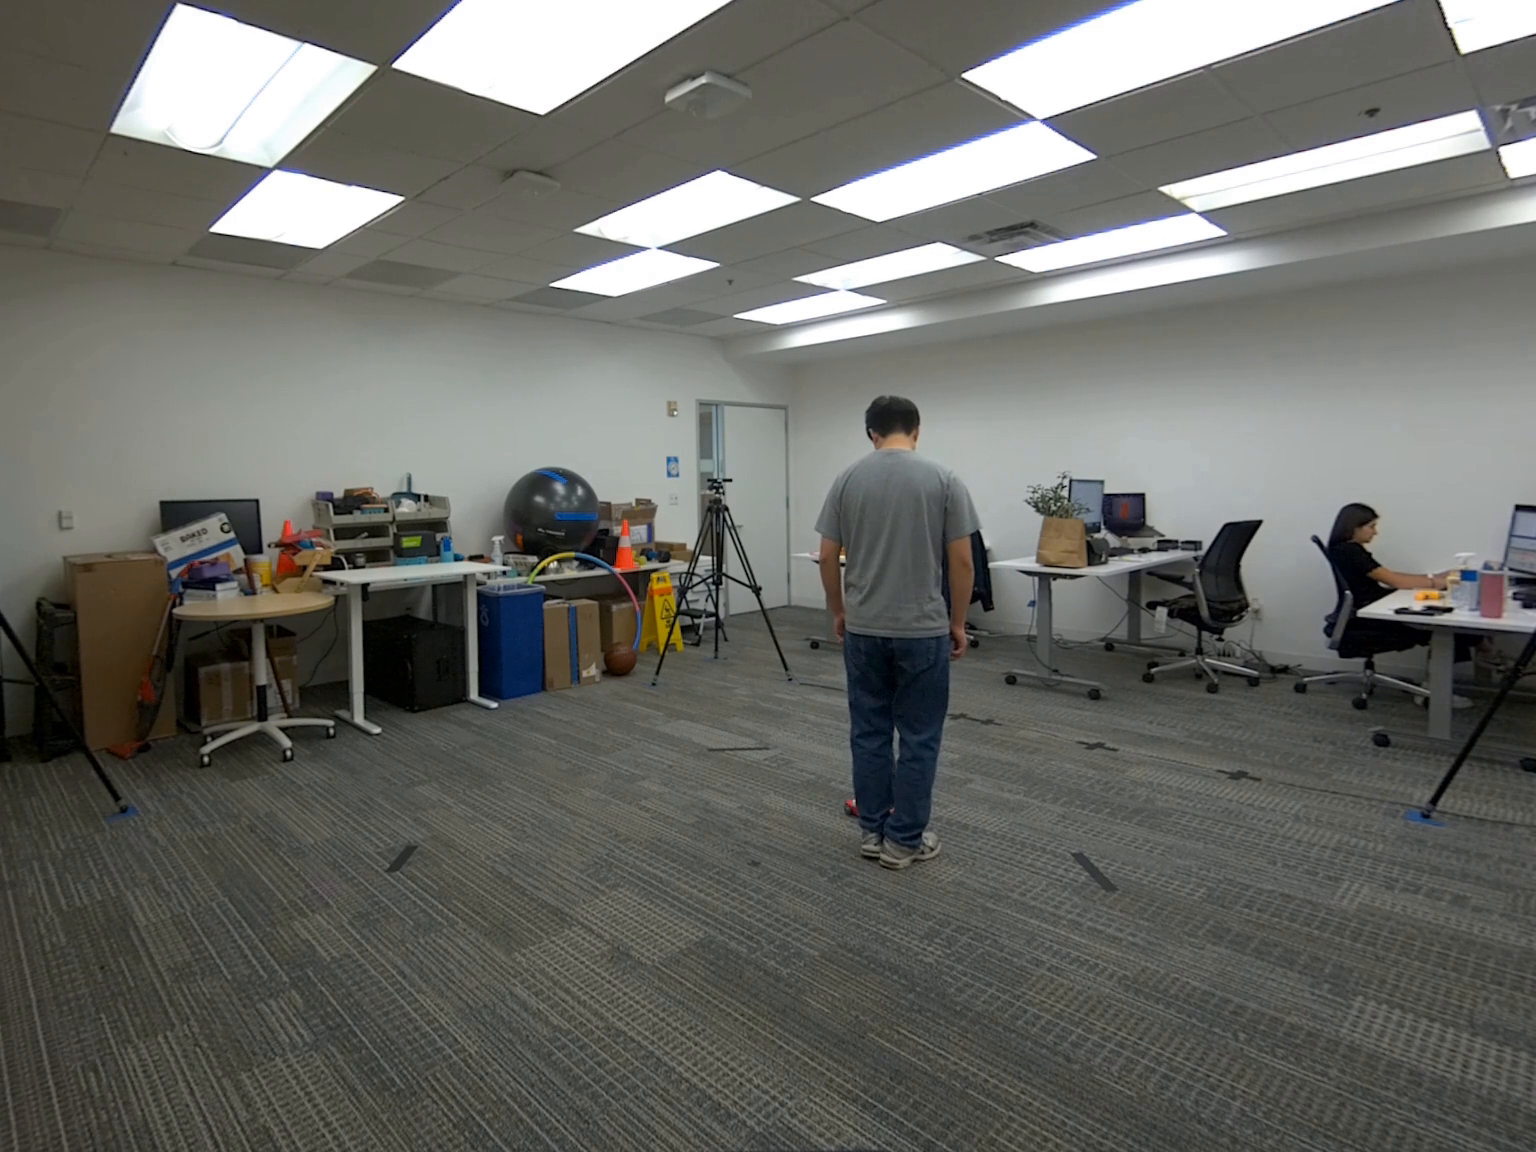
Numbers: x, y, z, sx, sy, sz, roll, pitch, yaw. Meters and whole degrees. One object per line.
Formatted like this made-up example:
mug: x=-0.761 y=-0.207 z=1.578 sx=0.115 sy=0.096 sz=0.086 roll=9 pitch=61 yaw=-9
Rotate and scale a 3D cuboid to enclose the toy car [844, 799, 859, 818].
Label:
toy car: x=0.436 y=0.961 z=3.491 sx=0.127 sy=0.084 sz=0.259 roll=-3 pitch=-5 yaw=-32
